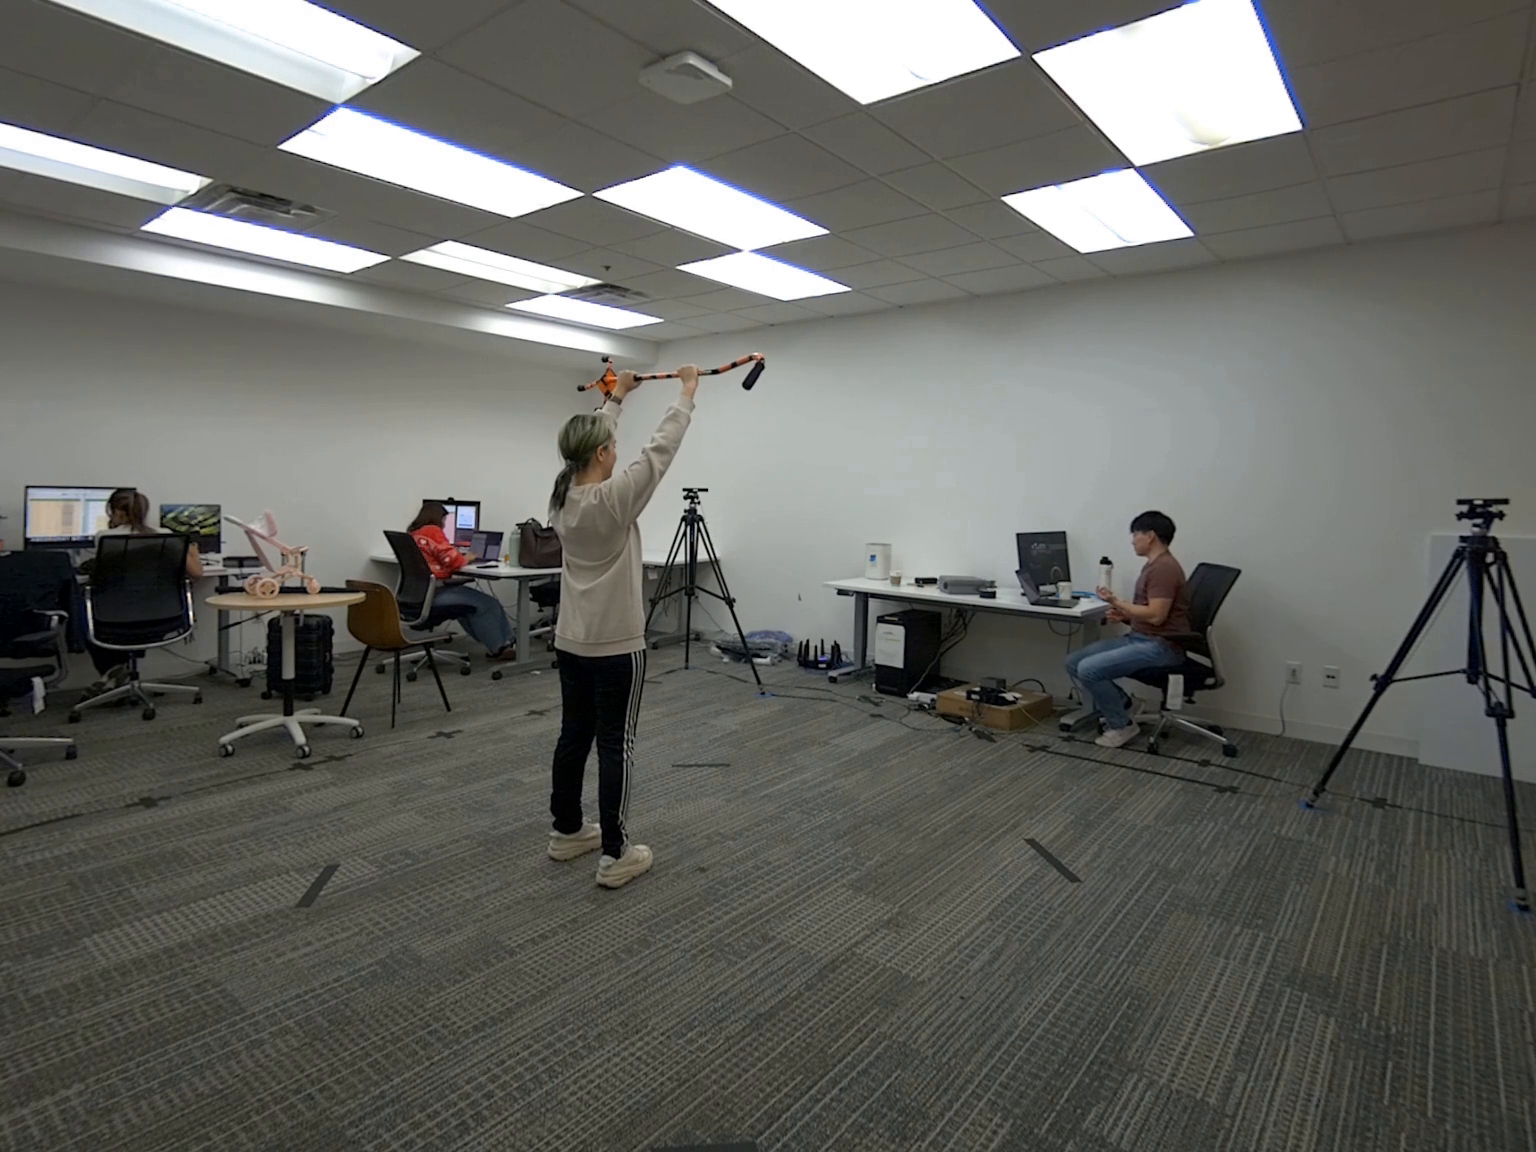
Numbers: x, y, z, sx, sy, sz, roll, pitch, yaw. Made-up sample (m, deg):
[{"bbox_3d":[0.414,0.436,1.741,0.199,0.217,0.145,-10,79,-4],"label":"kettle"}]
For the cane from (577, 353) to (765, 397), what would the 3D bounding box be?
[{"bbox_3d":[-0.359,-0.748,3.211,0.940,0.207,0.145,8,-33,43],"label":"cane"}]
